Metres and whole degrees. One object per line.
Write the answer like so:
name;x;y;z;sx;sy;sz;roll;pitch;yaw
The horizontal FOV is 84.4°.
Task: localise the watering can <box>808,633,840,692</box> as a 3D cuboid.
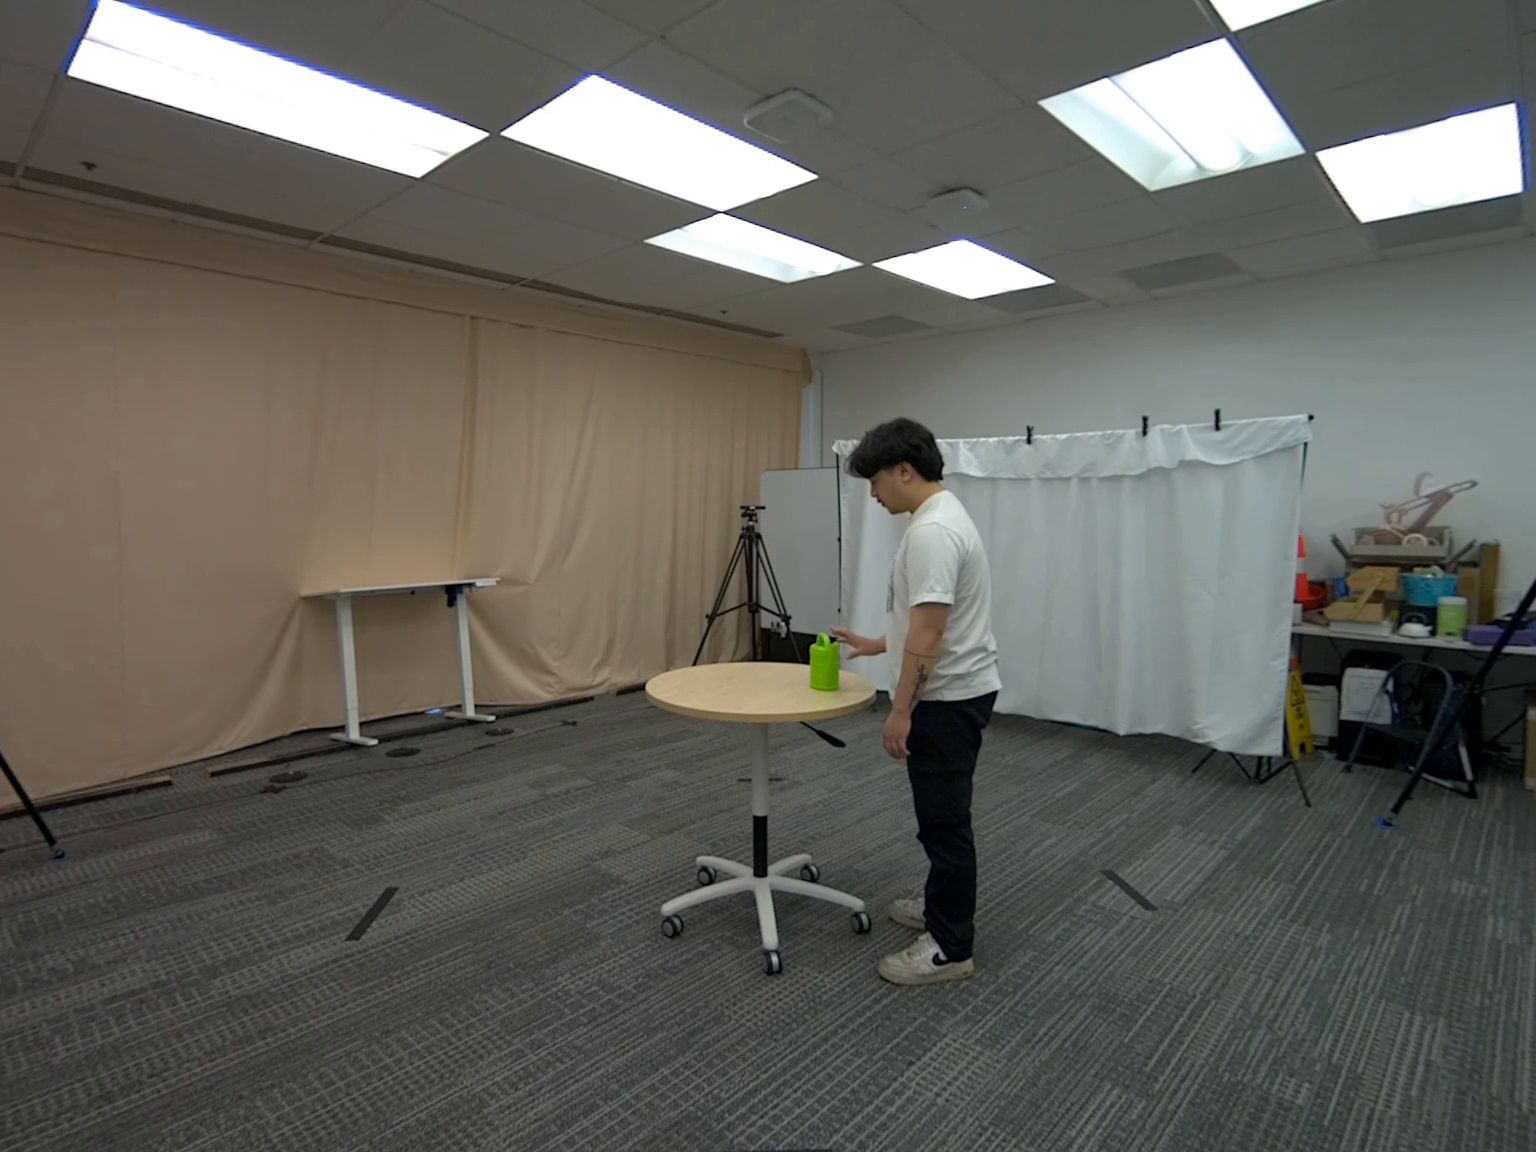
watering can;0.193;0.289;2.733;0.098;0.176;0.277;-1;4;3
